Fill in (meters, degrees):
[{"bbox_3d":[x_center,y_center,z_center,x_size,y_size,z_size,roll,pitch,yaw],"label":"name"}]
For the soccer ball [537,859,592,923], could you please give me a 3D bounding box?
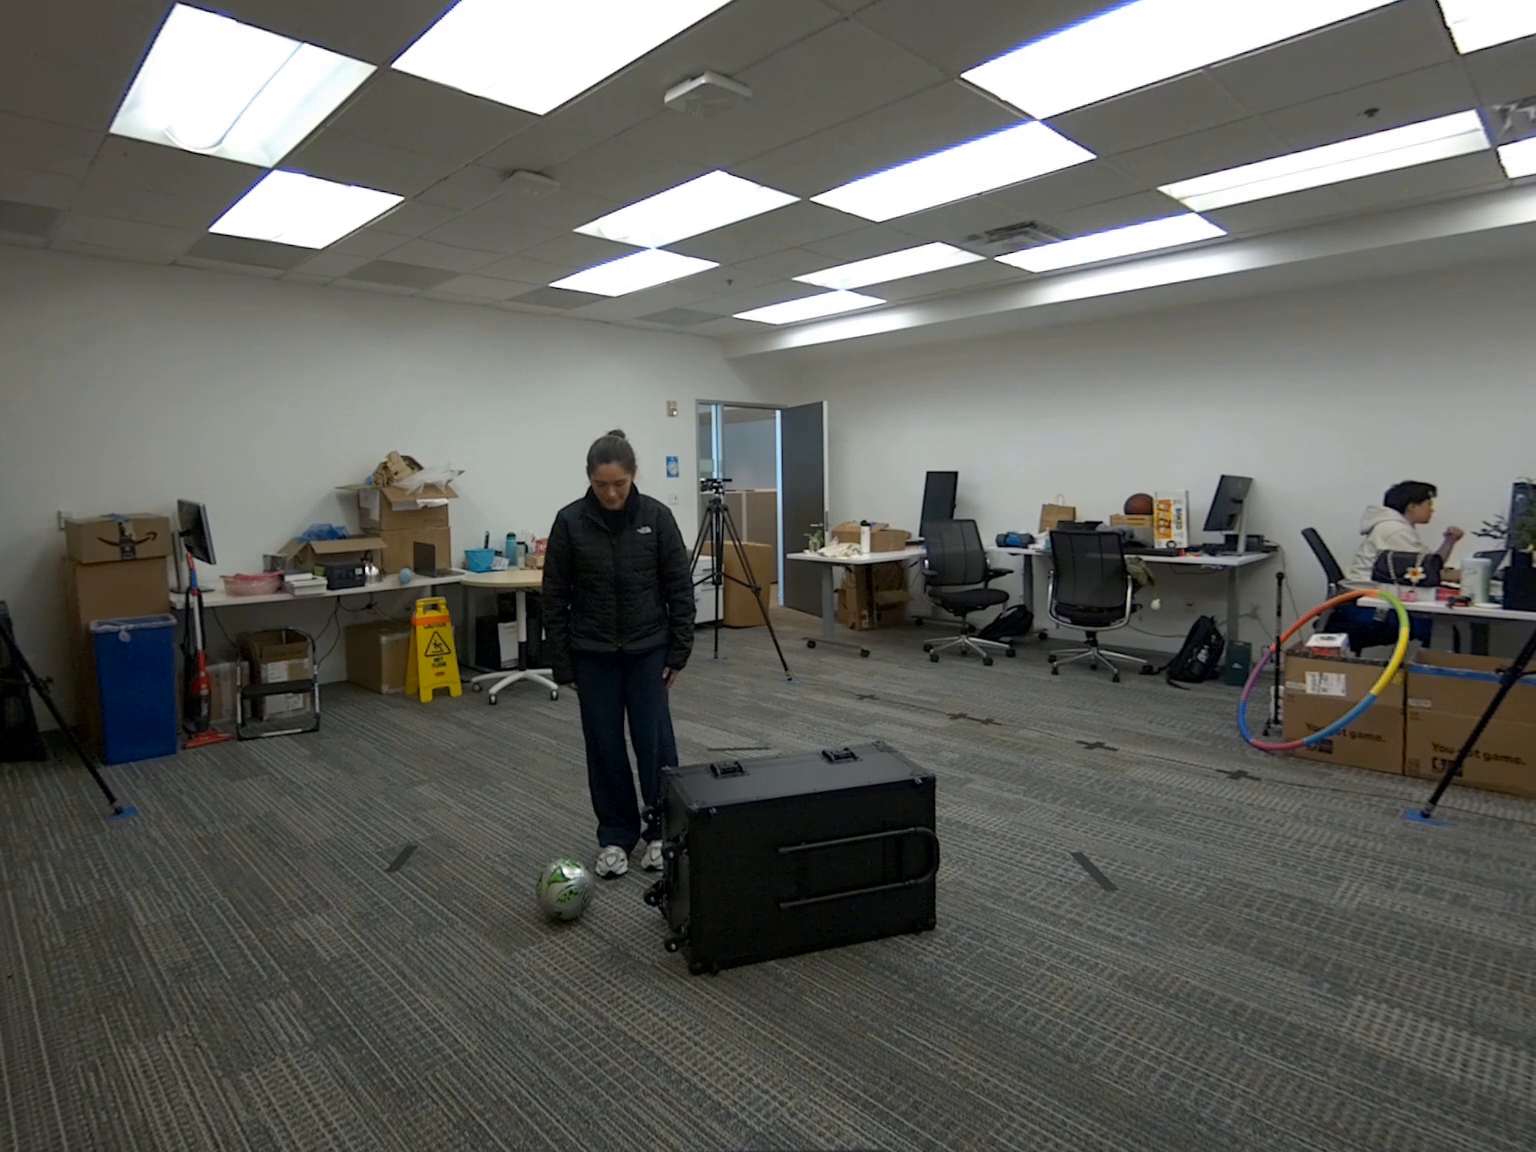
[{"bbox_3d":[-0.647,1.014,2.743,0.187,0.187,0.188,-1,5,-2],"label":"soccer ball"}]
